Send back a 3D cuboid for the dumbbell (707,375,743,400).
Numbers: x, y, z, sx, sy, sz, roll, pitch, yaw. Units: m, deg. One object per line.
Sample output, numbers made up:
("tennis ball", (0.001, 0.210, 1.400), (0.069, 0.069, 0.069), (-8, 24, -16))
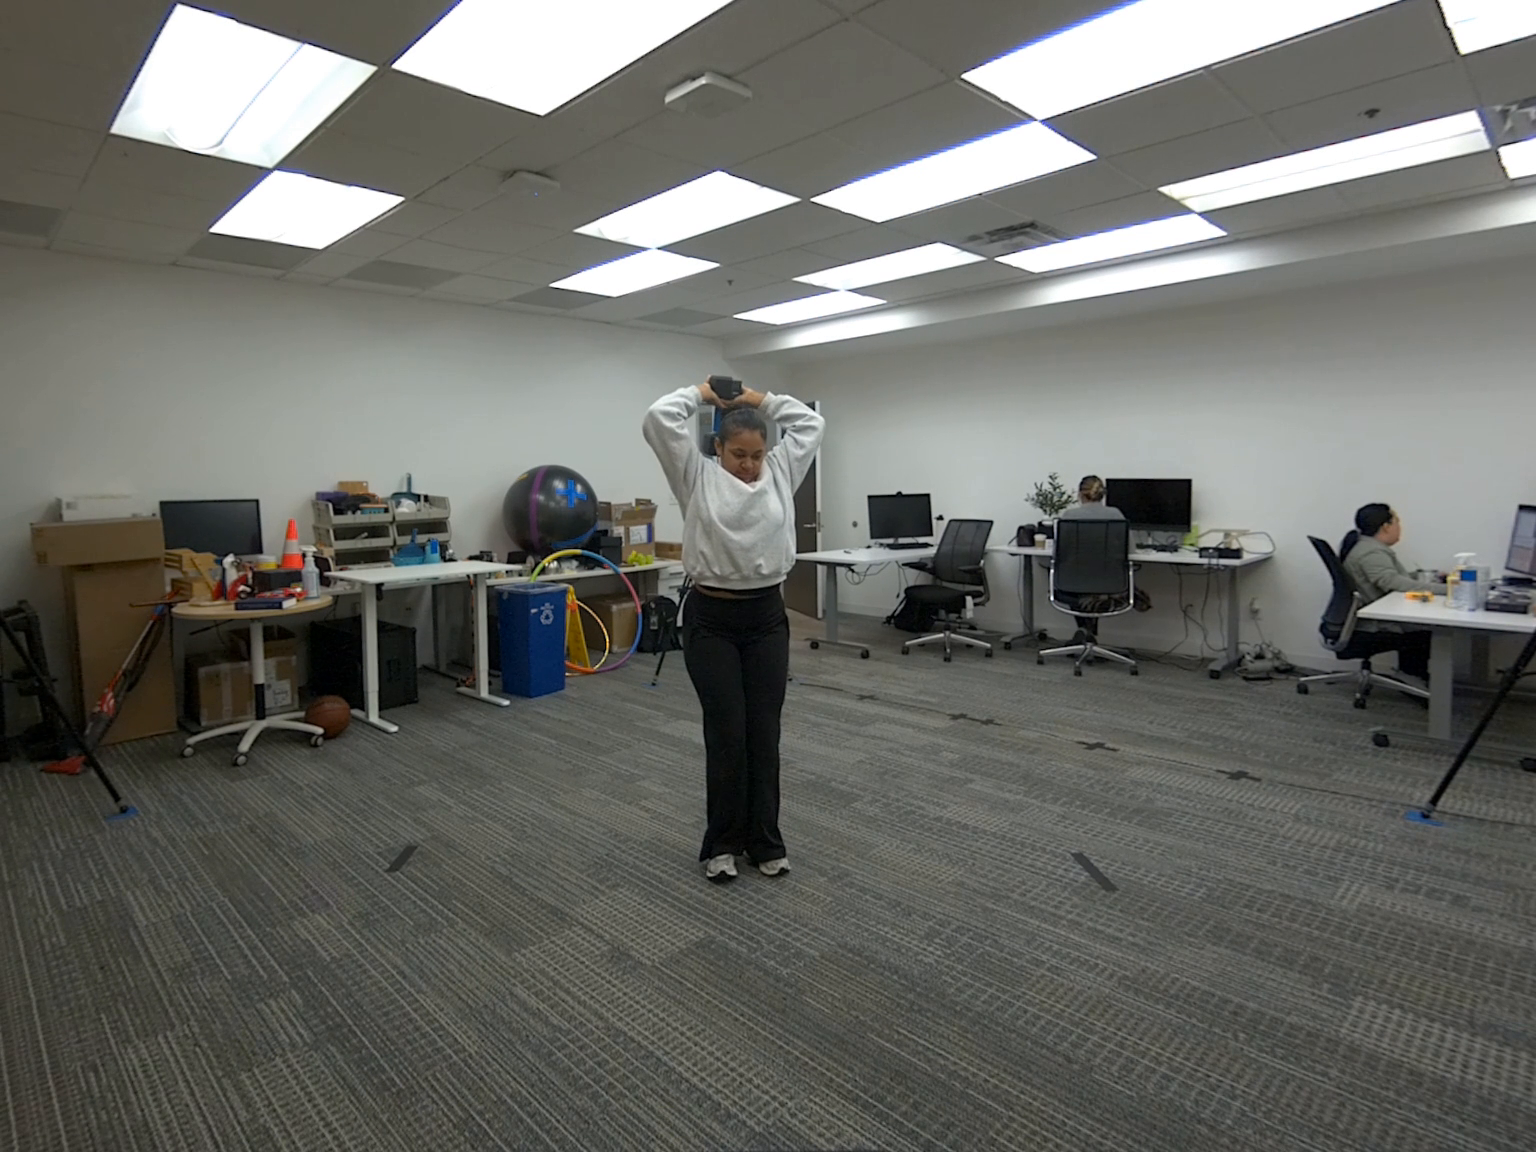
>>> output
("dumbbell", (-0.160, -0.598, 3.163), (0.112, 0.290, 0.120), (15, 16, 30))
